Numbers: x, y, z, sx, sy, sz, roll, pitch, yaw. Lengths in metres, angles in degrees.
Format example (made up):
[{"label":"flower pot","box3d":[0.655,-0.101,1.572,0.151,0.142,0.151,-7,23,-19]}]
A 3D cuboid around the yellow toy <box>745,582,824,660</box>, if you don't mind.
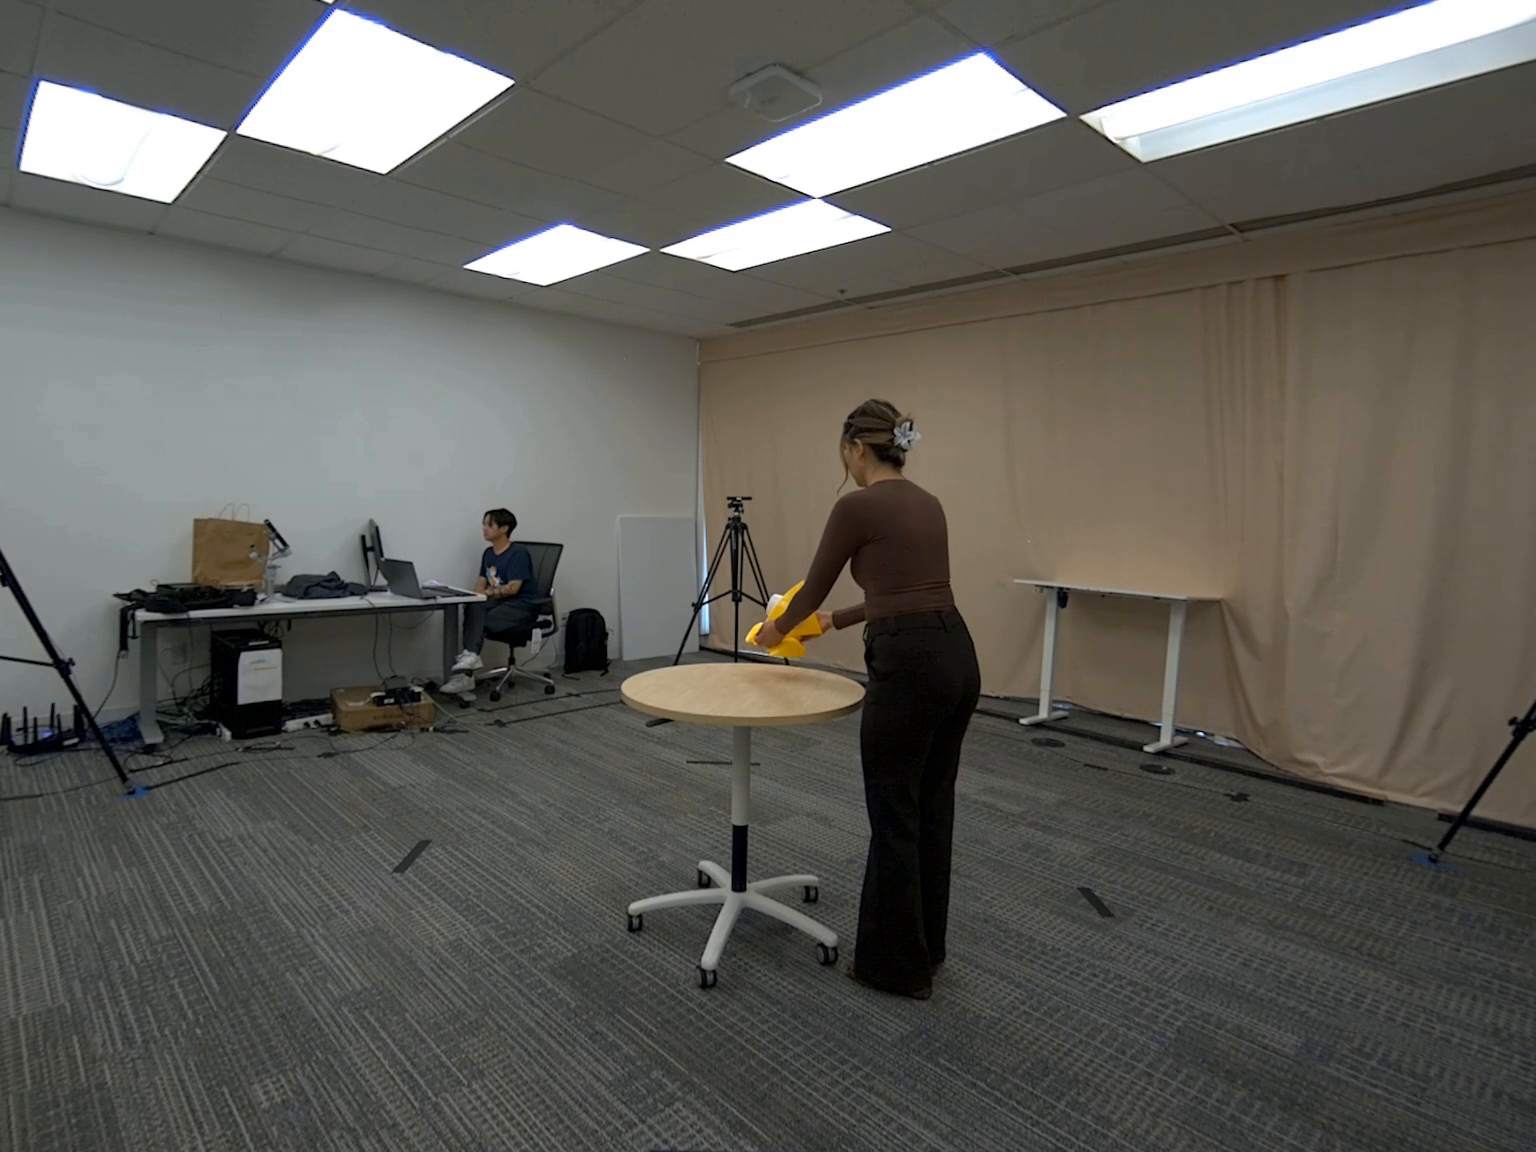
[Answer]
[{"label":"yellow toy","box3d":[0.056,0.128,2.821,0.188,0.229,0.211,0,17,-39]}]
